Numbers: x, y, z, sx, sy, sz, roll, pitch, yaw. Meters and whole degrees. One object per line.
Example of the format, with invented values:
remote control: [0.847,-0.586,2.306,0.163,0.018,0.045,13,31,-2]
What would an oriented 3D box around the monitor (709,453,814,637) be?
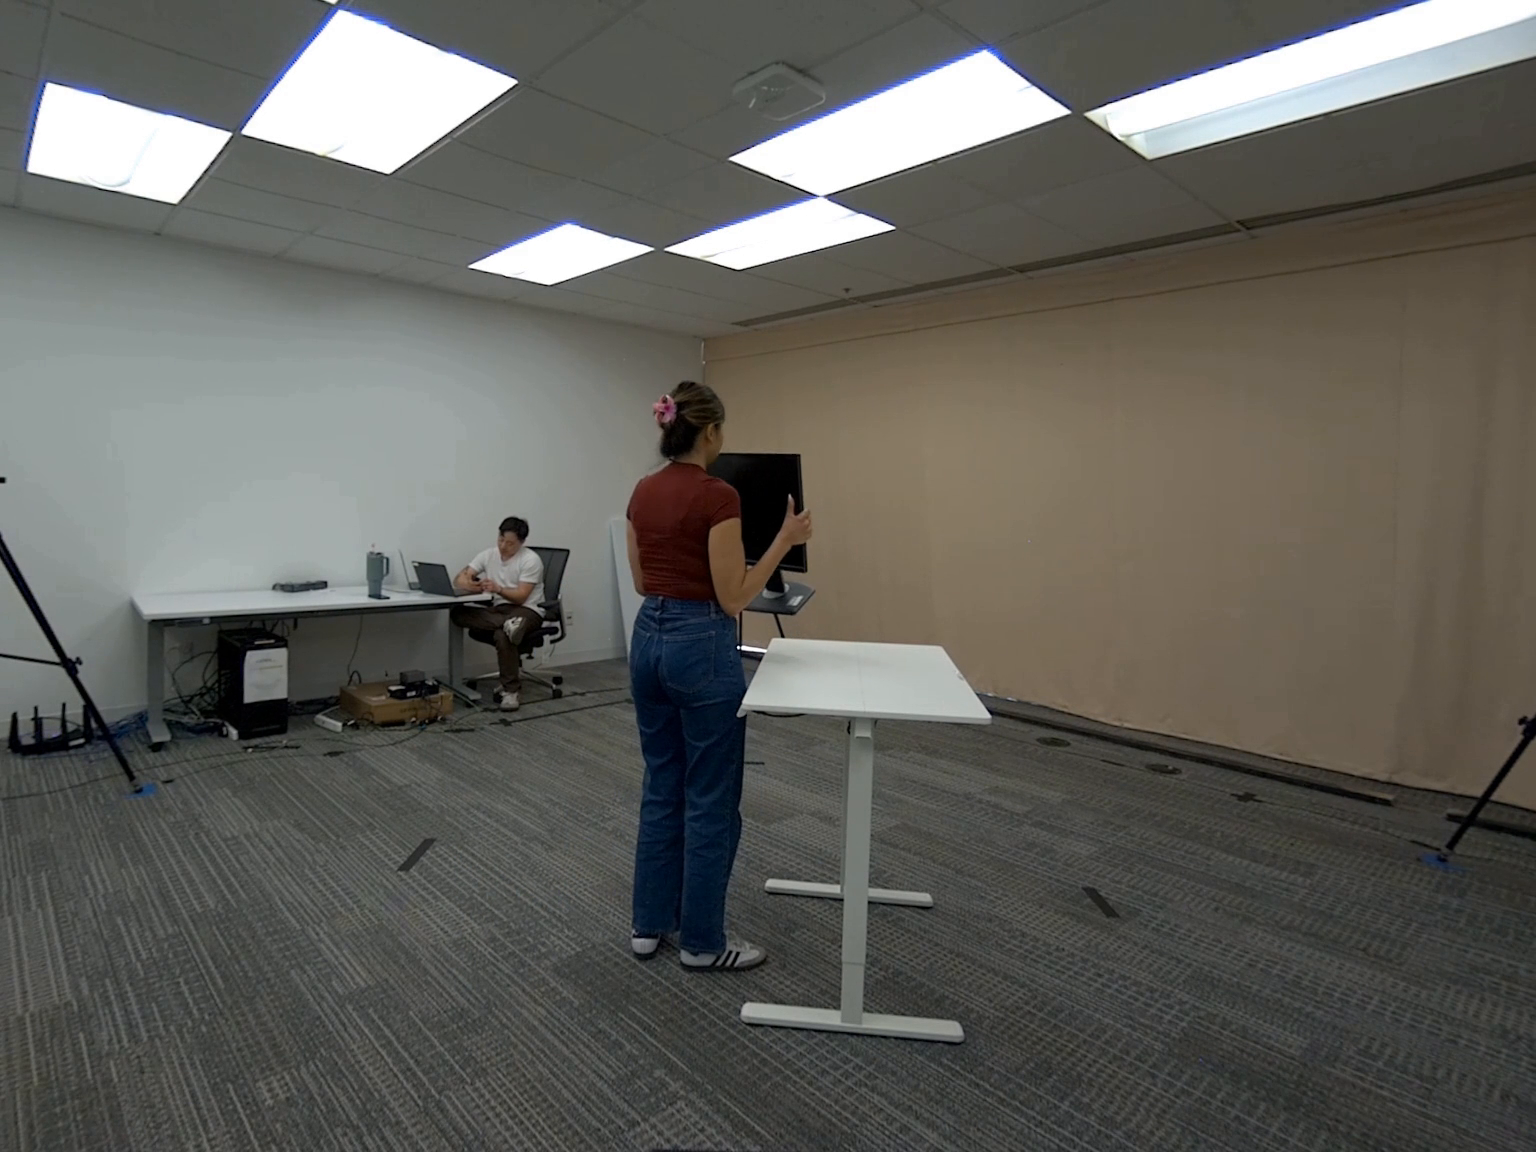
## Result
monitor: [-0.057,-0.140,2.672,0.553,0.513,0.186,6,30,42]
